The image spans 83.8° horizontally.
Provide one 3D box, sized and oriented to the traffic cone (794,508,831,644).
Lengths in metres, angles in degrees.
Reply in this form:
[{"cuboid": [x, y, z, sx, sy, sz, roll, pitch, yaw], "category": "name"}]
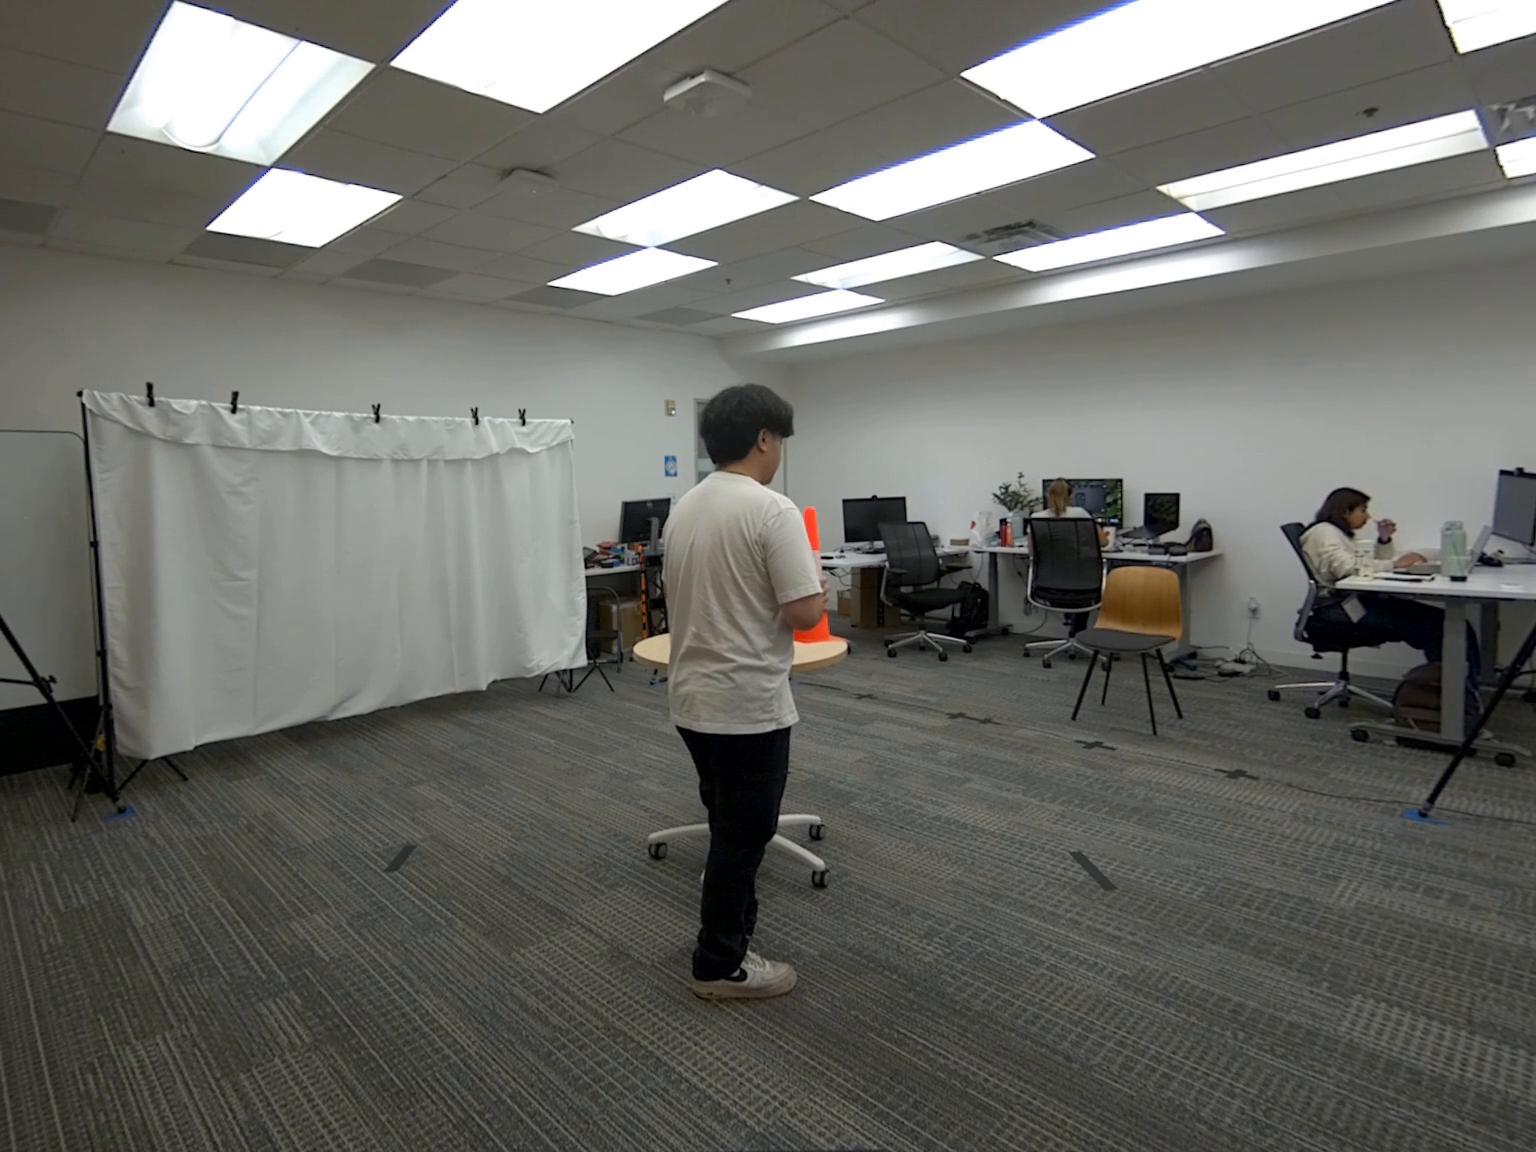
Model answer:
[{"cuboid": [0.124, -0.012, 2.519, 0.211, 0.384, 0.197, 1, -2, 35], "category": "traffic cone"}]
